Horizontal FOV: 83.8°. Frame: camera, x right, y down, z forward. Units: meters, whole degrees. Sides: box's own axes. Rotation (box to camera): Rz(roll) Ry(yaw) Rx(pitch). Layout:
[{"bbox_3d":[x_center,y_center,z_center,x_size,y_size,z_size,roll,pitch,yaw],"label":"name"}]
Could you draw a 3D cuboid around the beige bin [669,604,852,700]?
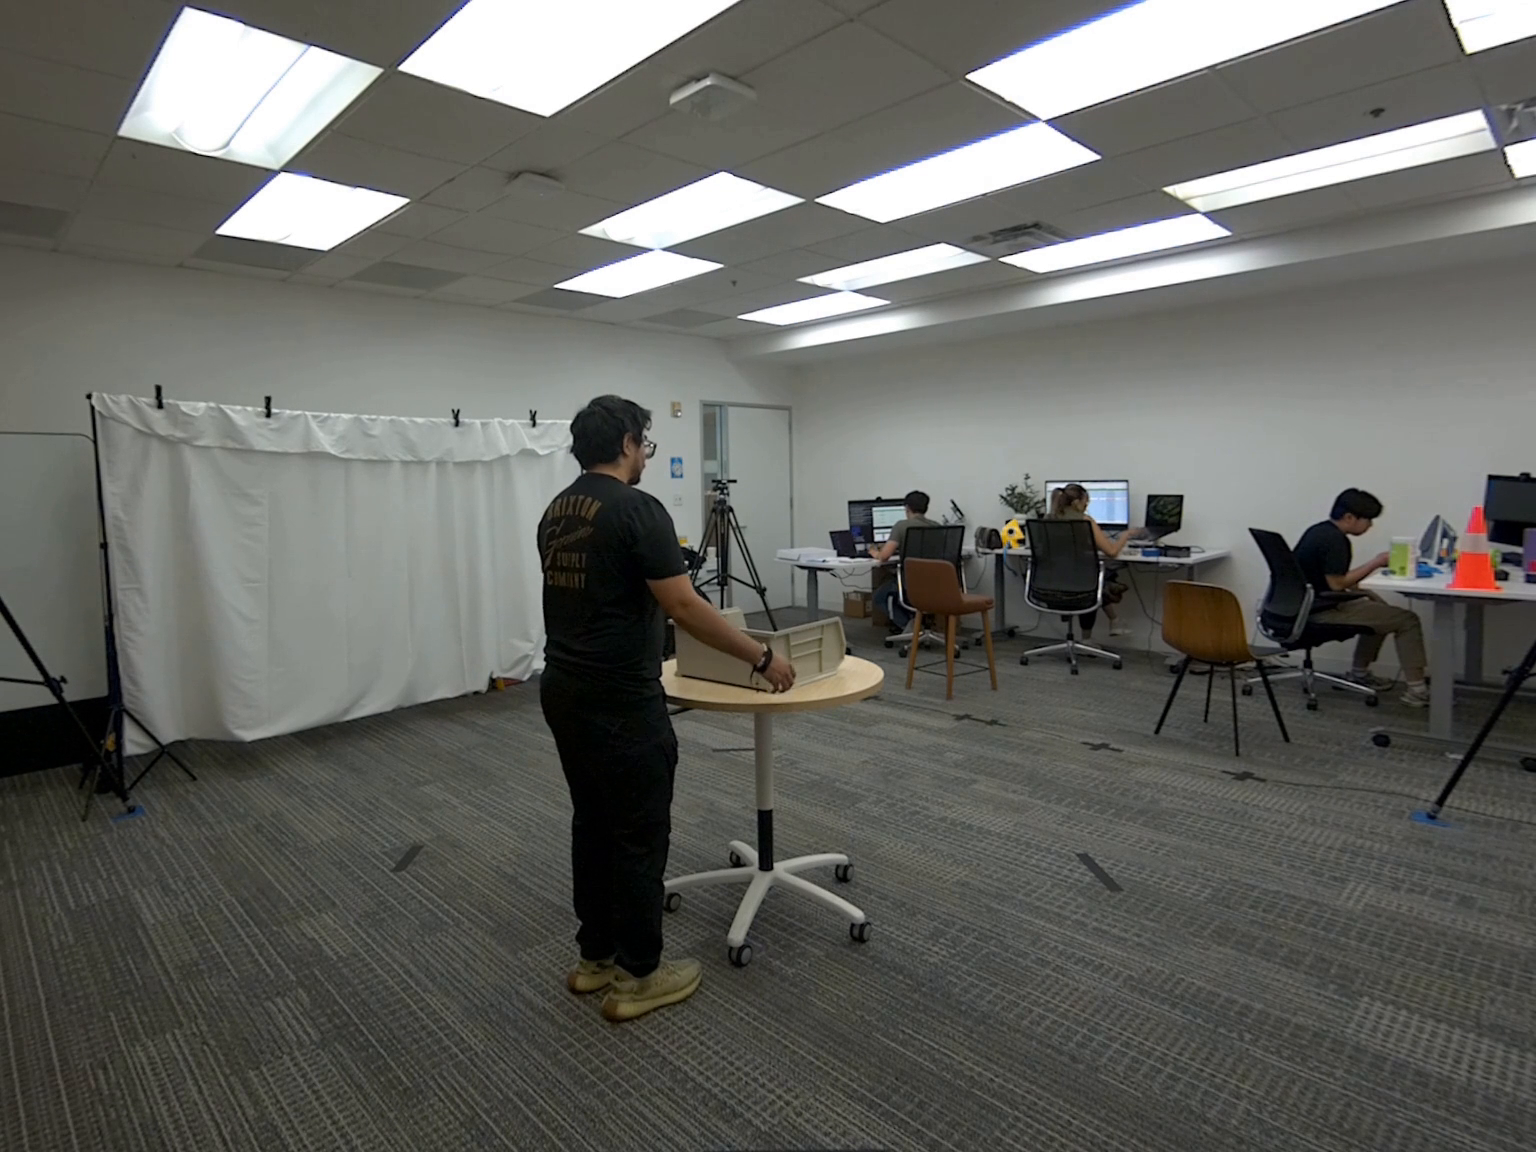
[{"bbox_3d":[-0.025,0.223,2.707,0.435,0.188,0.368,3,9,40],"label":"beige bin"}]
